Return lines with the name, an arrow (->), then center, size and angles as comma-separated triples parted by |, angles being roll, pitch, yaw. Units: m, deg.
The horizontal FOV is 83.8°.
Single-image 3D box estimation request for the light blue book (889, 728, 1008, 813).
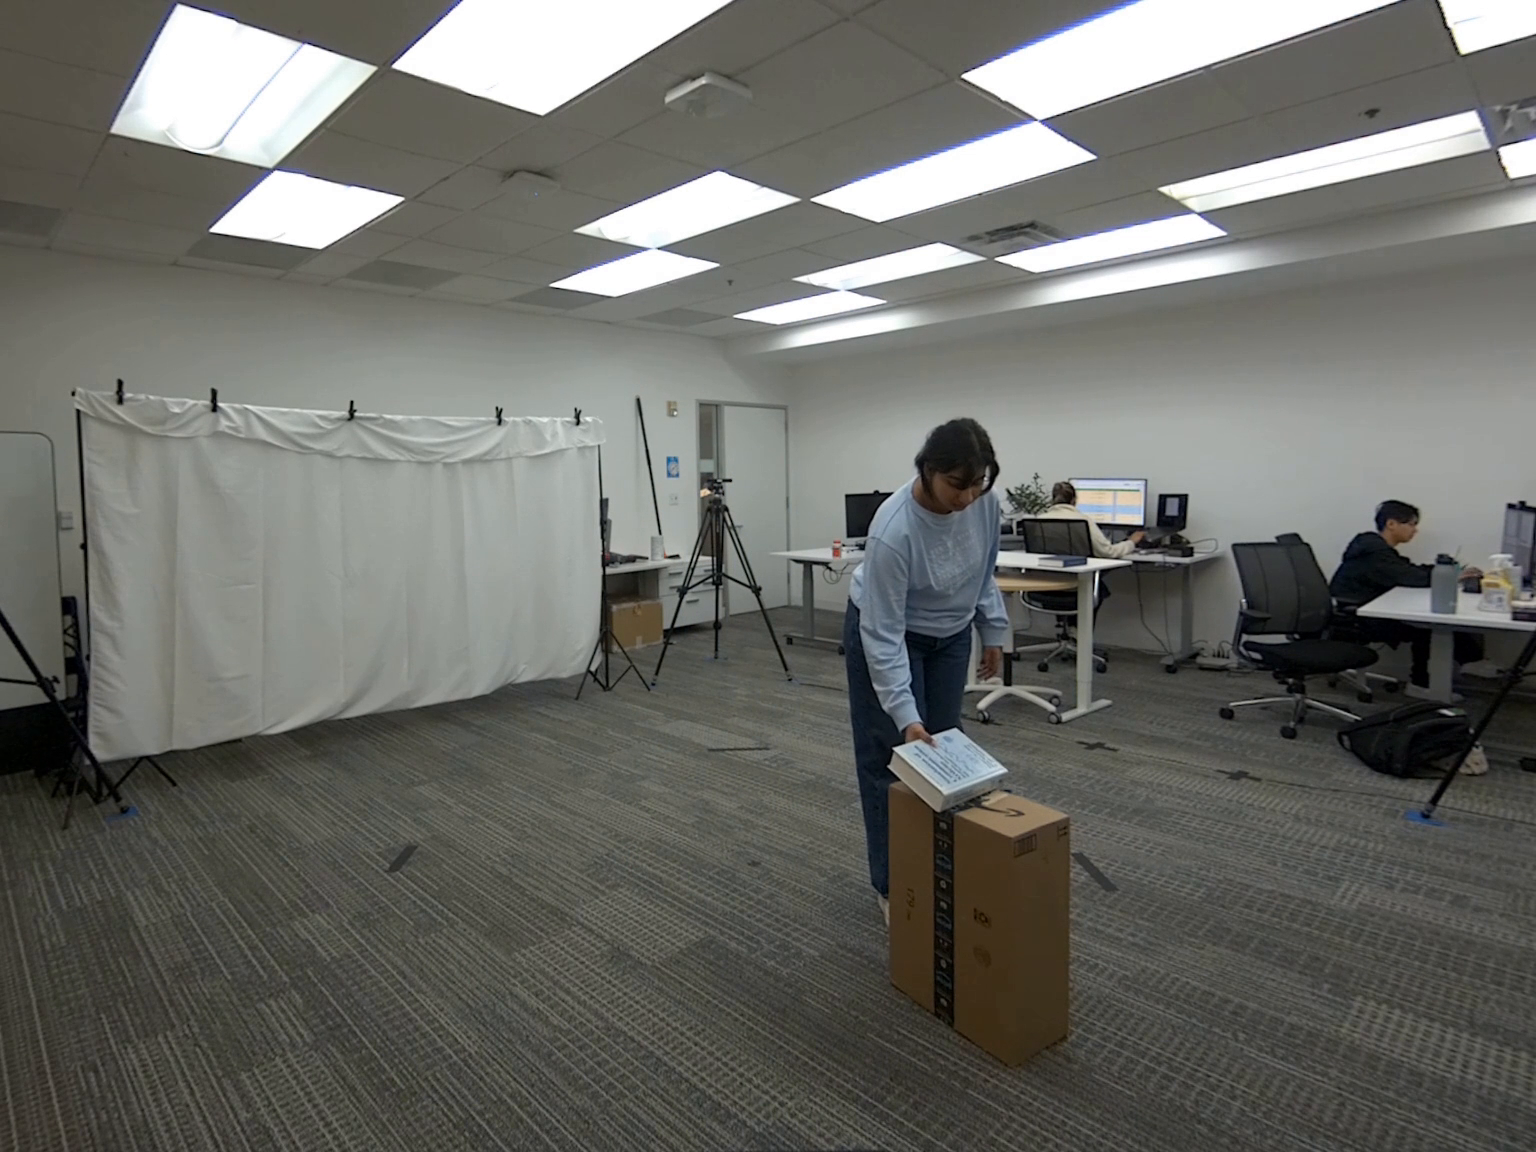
light blue book -> 0.470, 0.507, 2.258 | 0.254, 0.058, 0.199 | -7, 31, -37
